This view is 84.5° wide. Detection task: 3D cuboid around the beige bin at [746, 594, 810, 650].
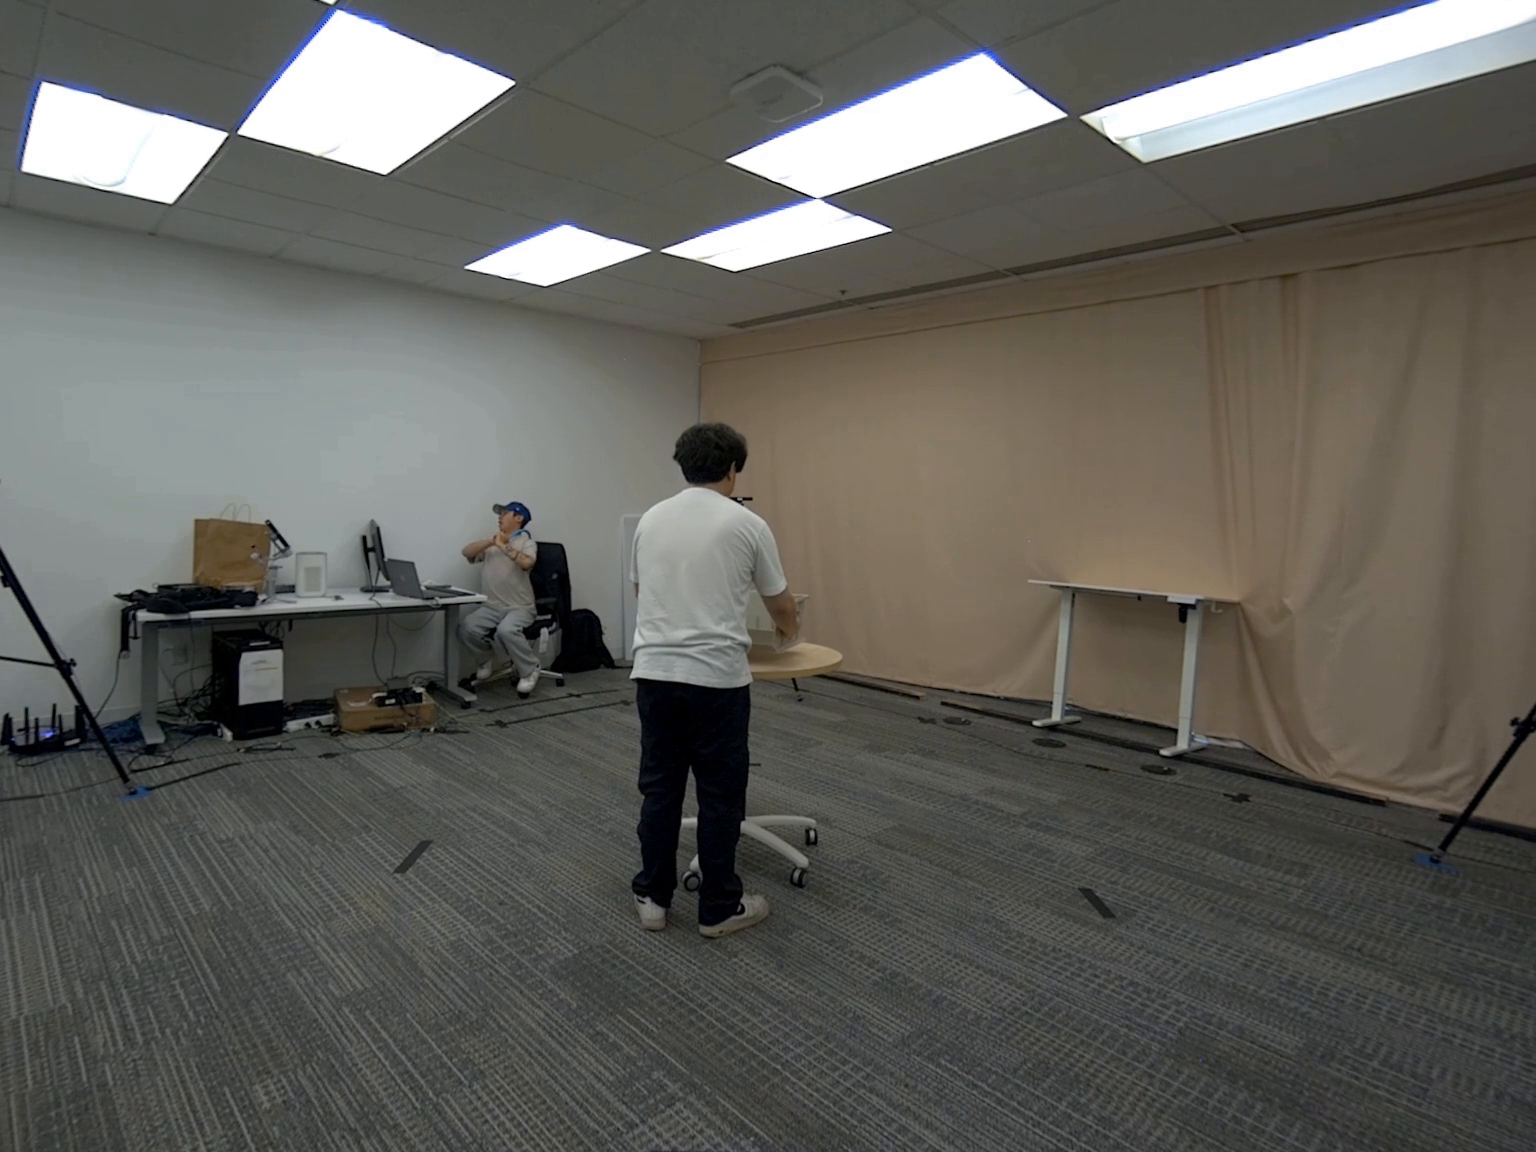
[{"bbox_3d":[-0.100,0.169,3.220,0.430,0.188,0.371,4,4,22],"label":"beige bin"}]
